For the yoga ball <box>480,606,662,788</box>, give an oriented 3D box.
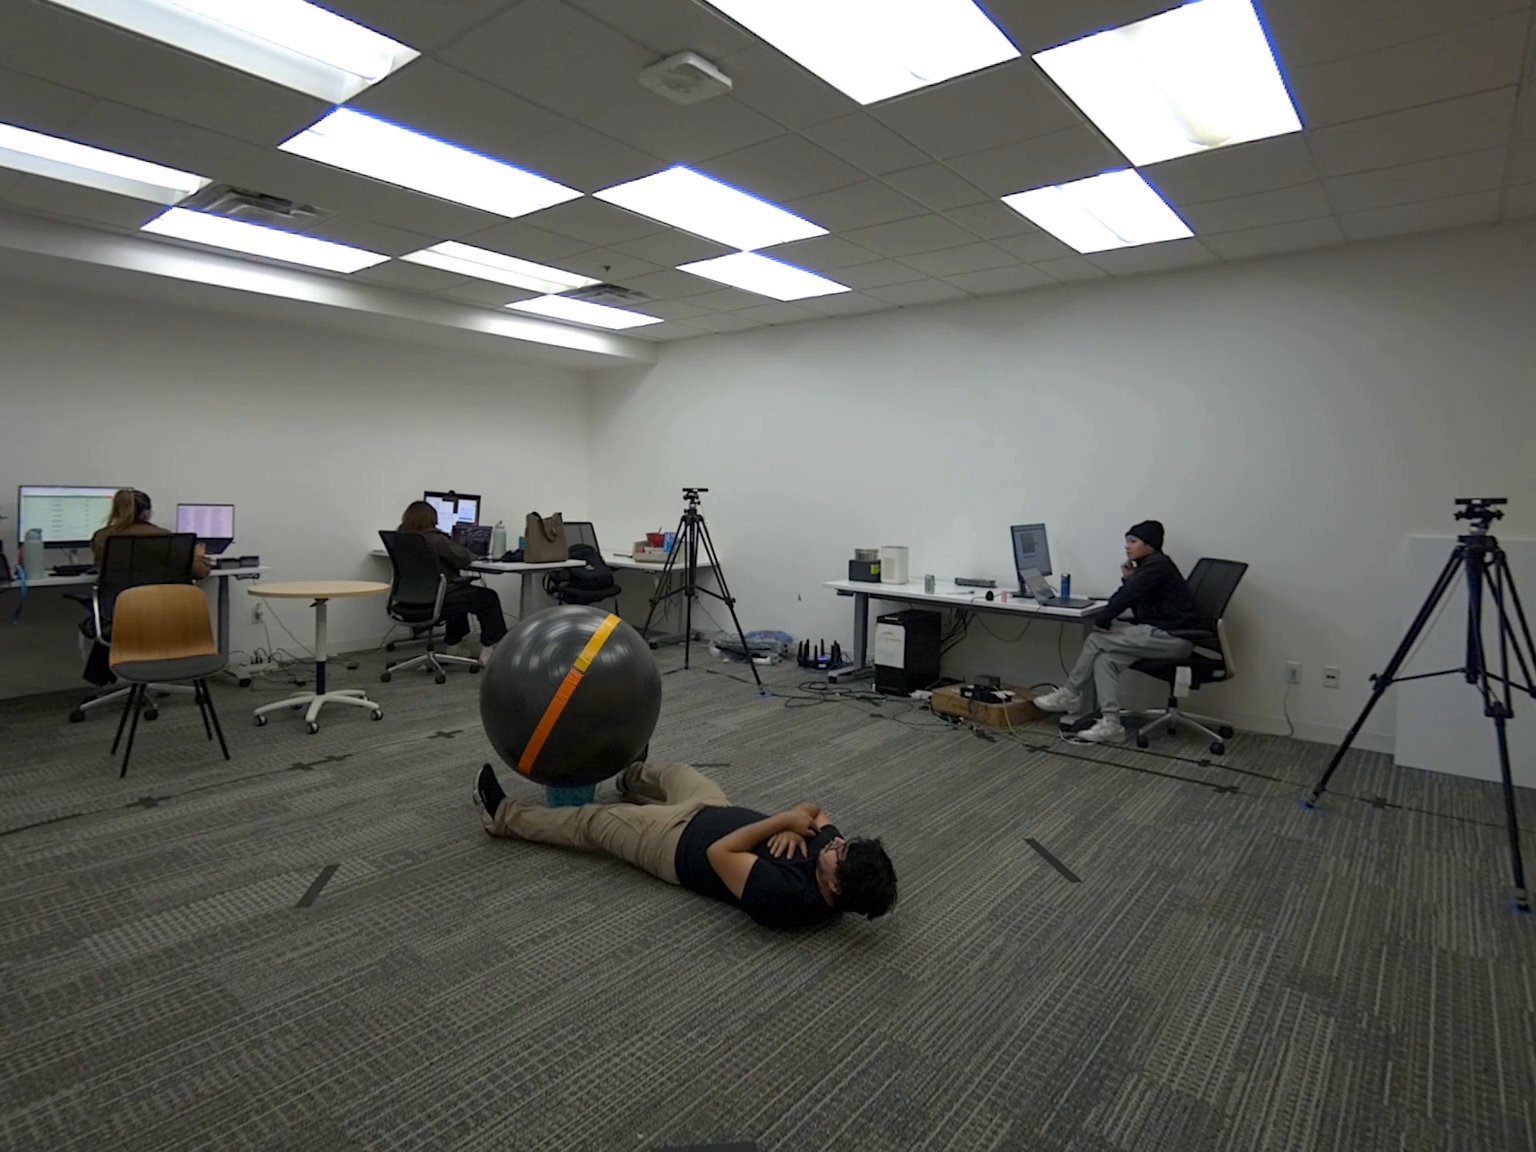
[{"bbox_3d":[-0.843,0.504,3.595,0.757,0.755,0.762,1,4,-2],"label":"yoga ball"}]
